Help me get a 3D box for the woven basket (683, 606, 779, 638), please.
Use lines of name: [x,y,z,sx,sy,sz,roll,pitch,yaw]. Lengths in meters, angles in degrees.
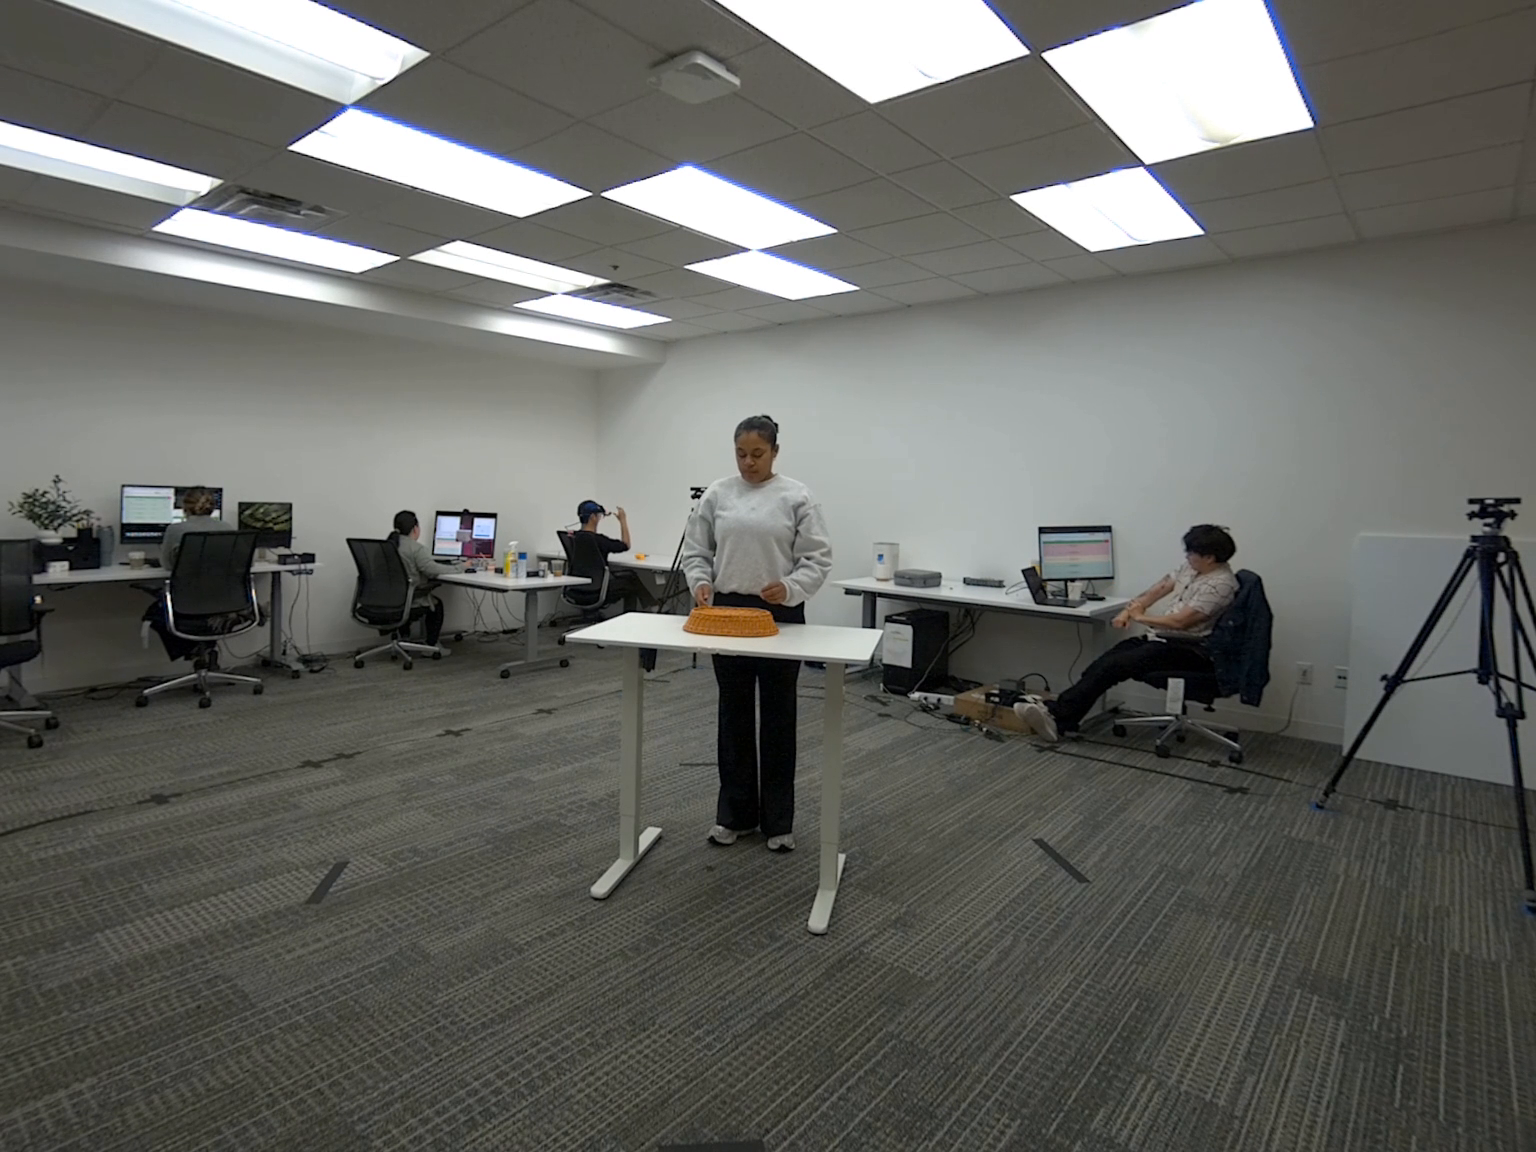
woven basket: [-0.135,0.162,3.044,0.351,0.073,0.253,1,6,1]
